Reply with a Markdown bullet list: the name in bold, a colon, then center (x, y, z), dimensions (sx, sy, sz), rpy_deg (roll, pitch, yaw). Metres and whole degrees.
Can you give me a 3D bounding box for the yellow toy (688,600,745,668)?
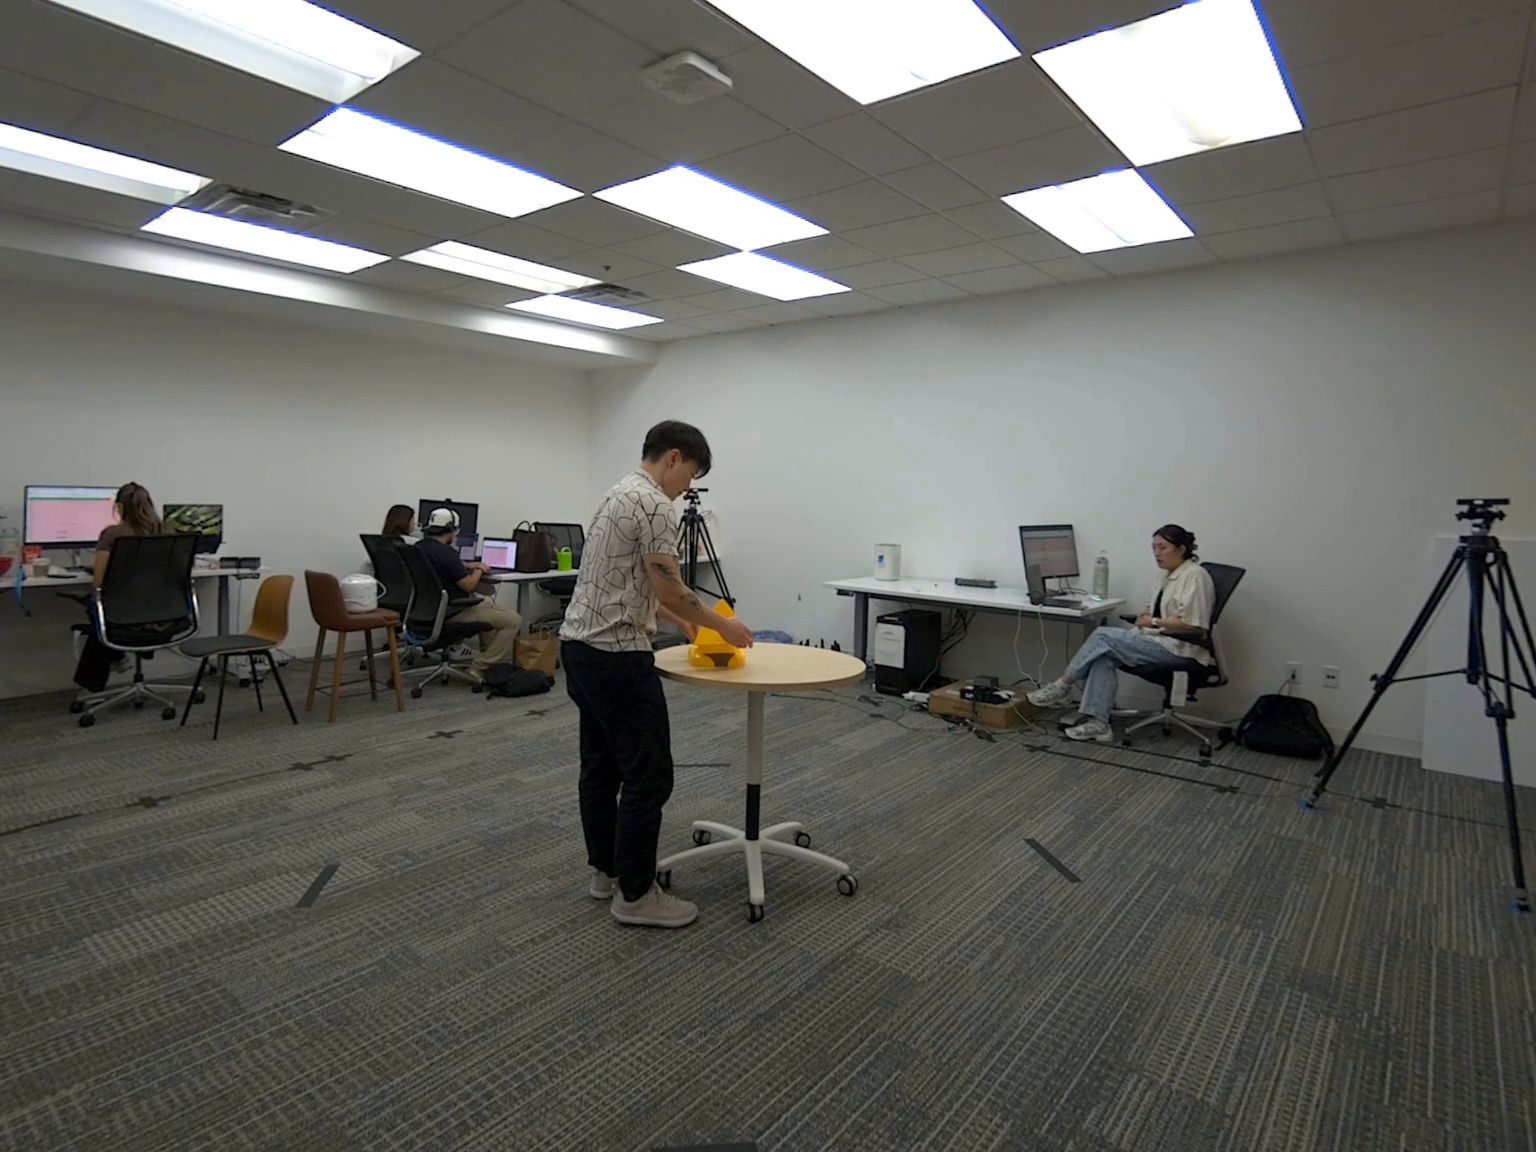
- **yellow toy**: center (-0.186, 0.188, 2.961), dimensions (0.202, 0.230, 0.196), rpy_deg (0, 5, -14)
